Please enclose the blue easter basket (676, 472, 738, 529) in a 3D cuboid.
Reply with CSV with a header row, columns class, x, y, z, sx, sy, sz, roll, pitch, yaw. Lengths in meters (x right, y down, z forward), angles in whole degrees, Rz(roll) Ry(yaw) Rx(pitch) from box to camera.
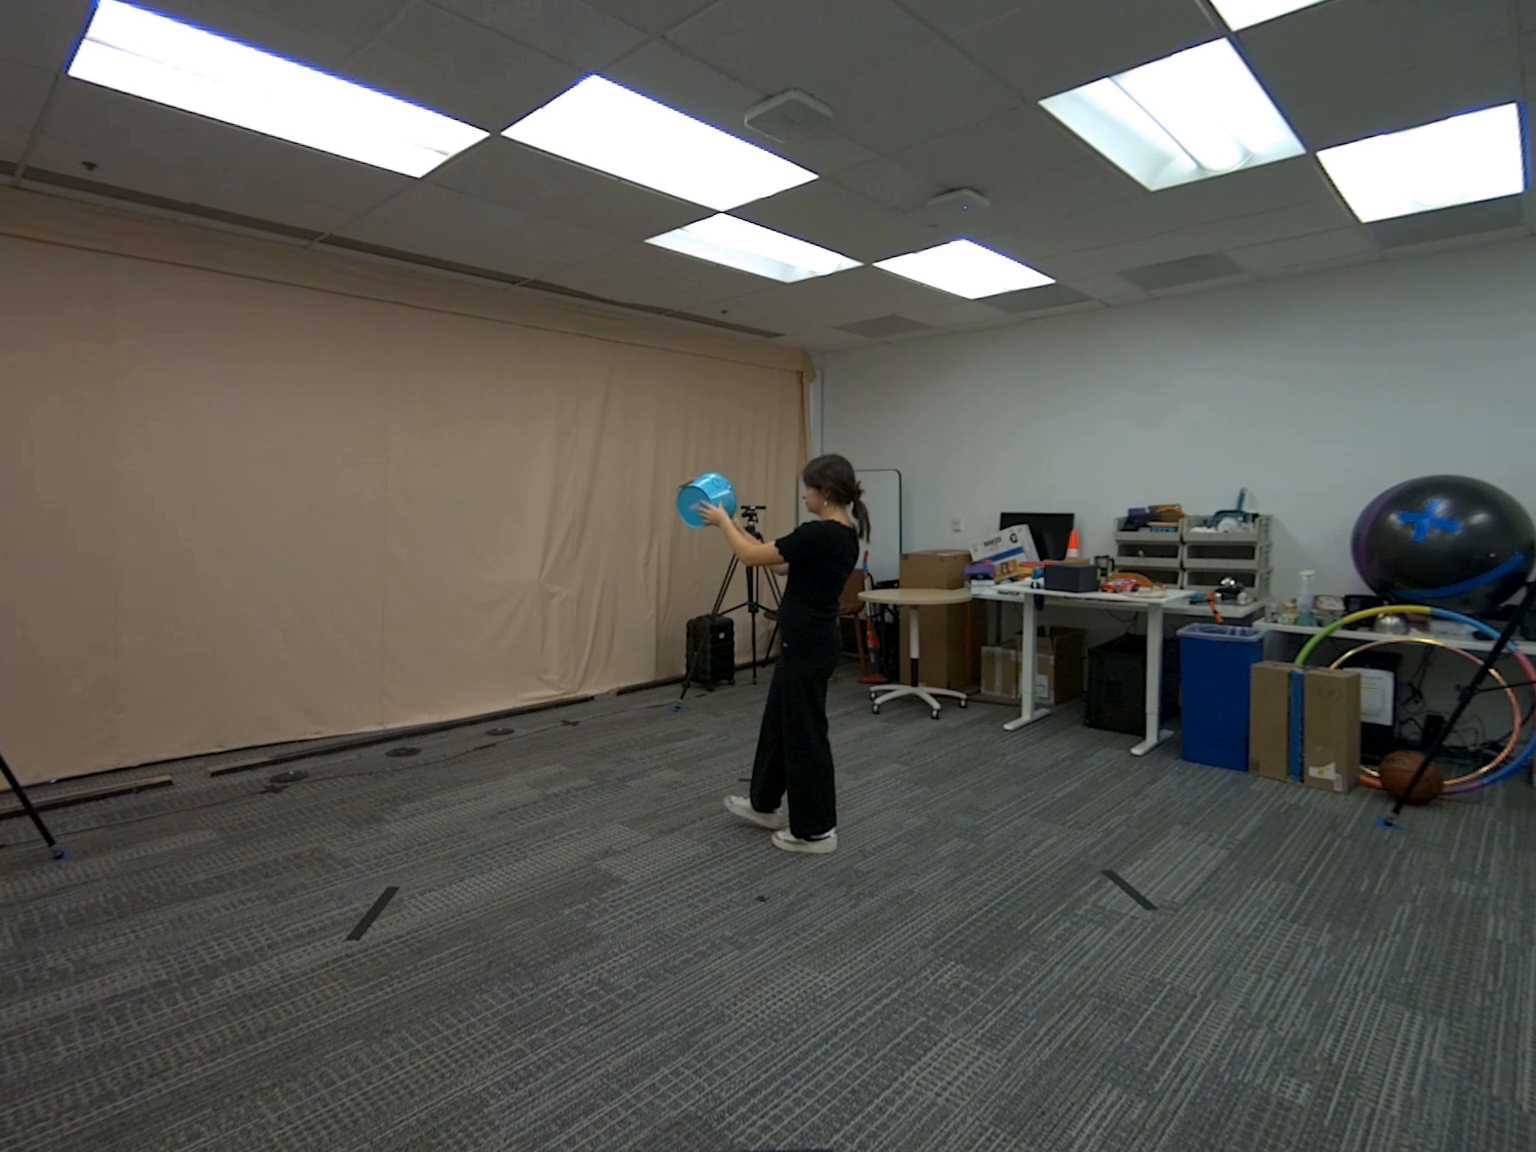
class,x,y,z,sx,sy,sz,roll,pitch,yaw
blue easter basket,-0.272,-0.309,3.564,0.251,0.241,0.153,2,18,30
